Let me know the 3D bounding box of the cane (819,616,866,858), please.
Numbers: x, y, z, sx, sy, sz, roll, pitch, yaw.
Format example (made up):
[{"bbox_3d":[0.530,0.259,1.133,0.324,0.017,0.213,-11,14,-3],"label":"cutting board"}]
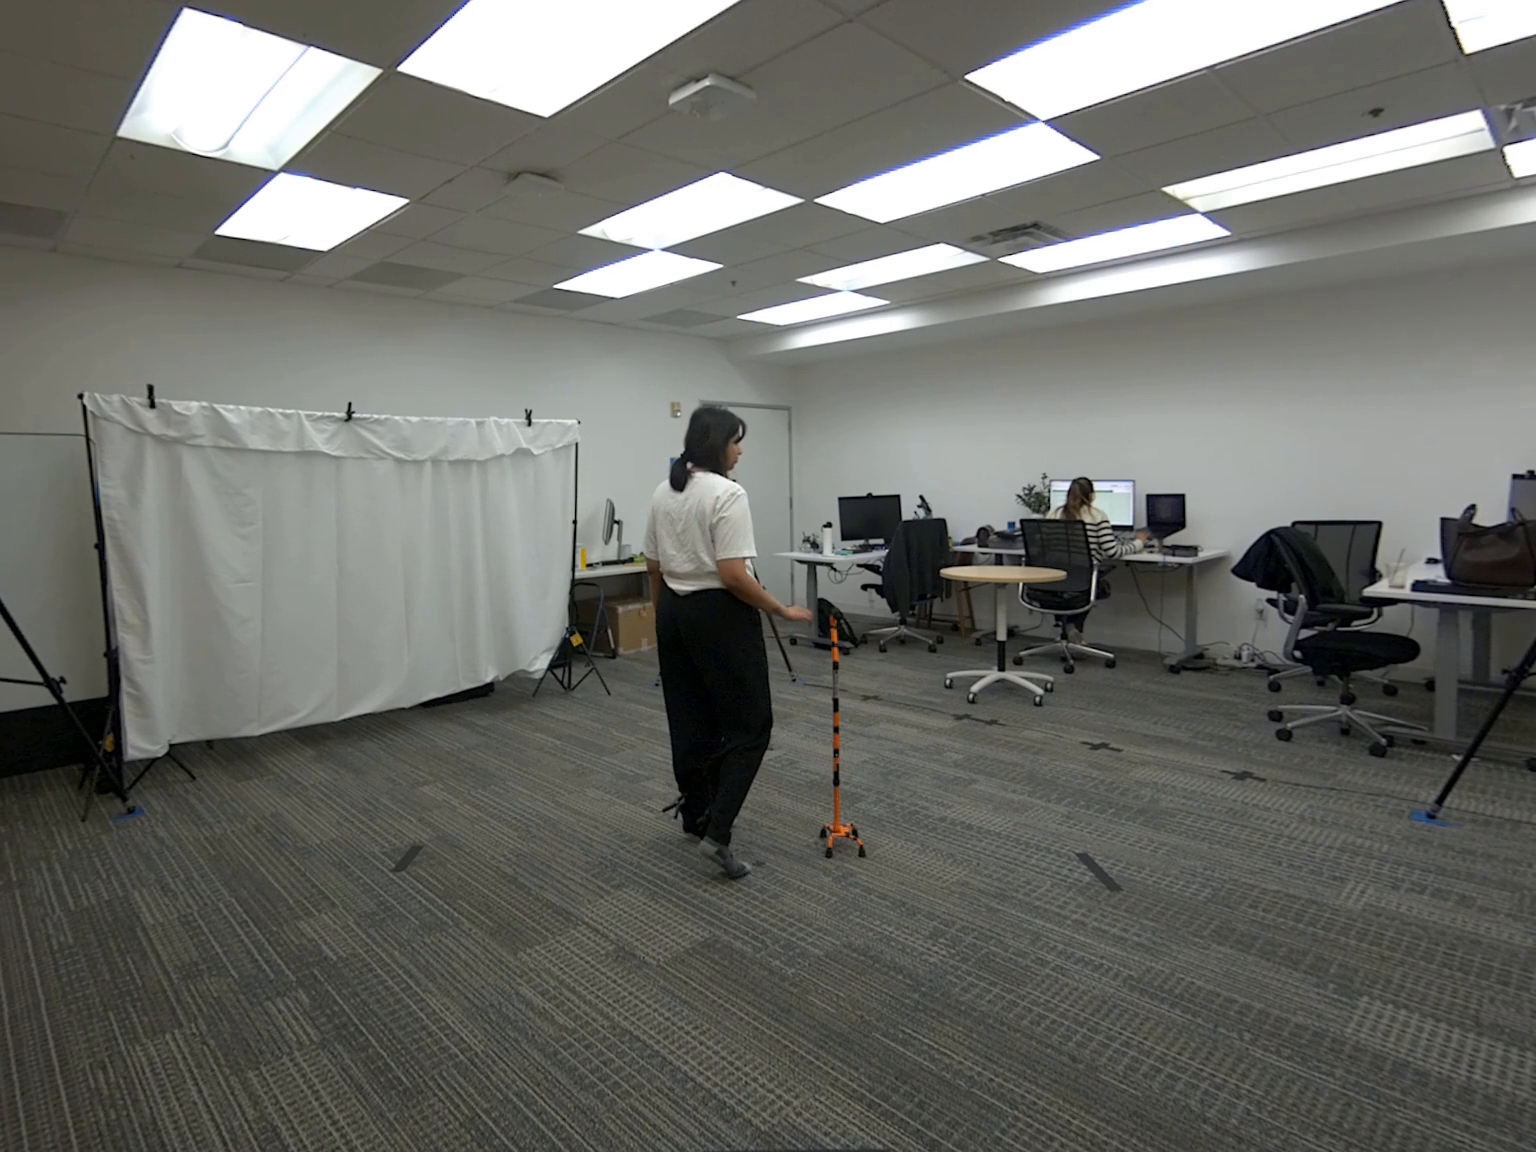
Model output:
[{"bbox_3d":[0.269,0.571,3.216,0.152,0.905,0.207,-1,4,-1],"label":"cane"}]
